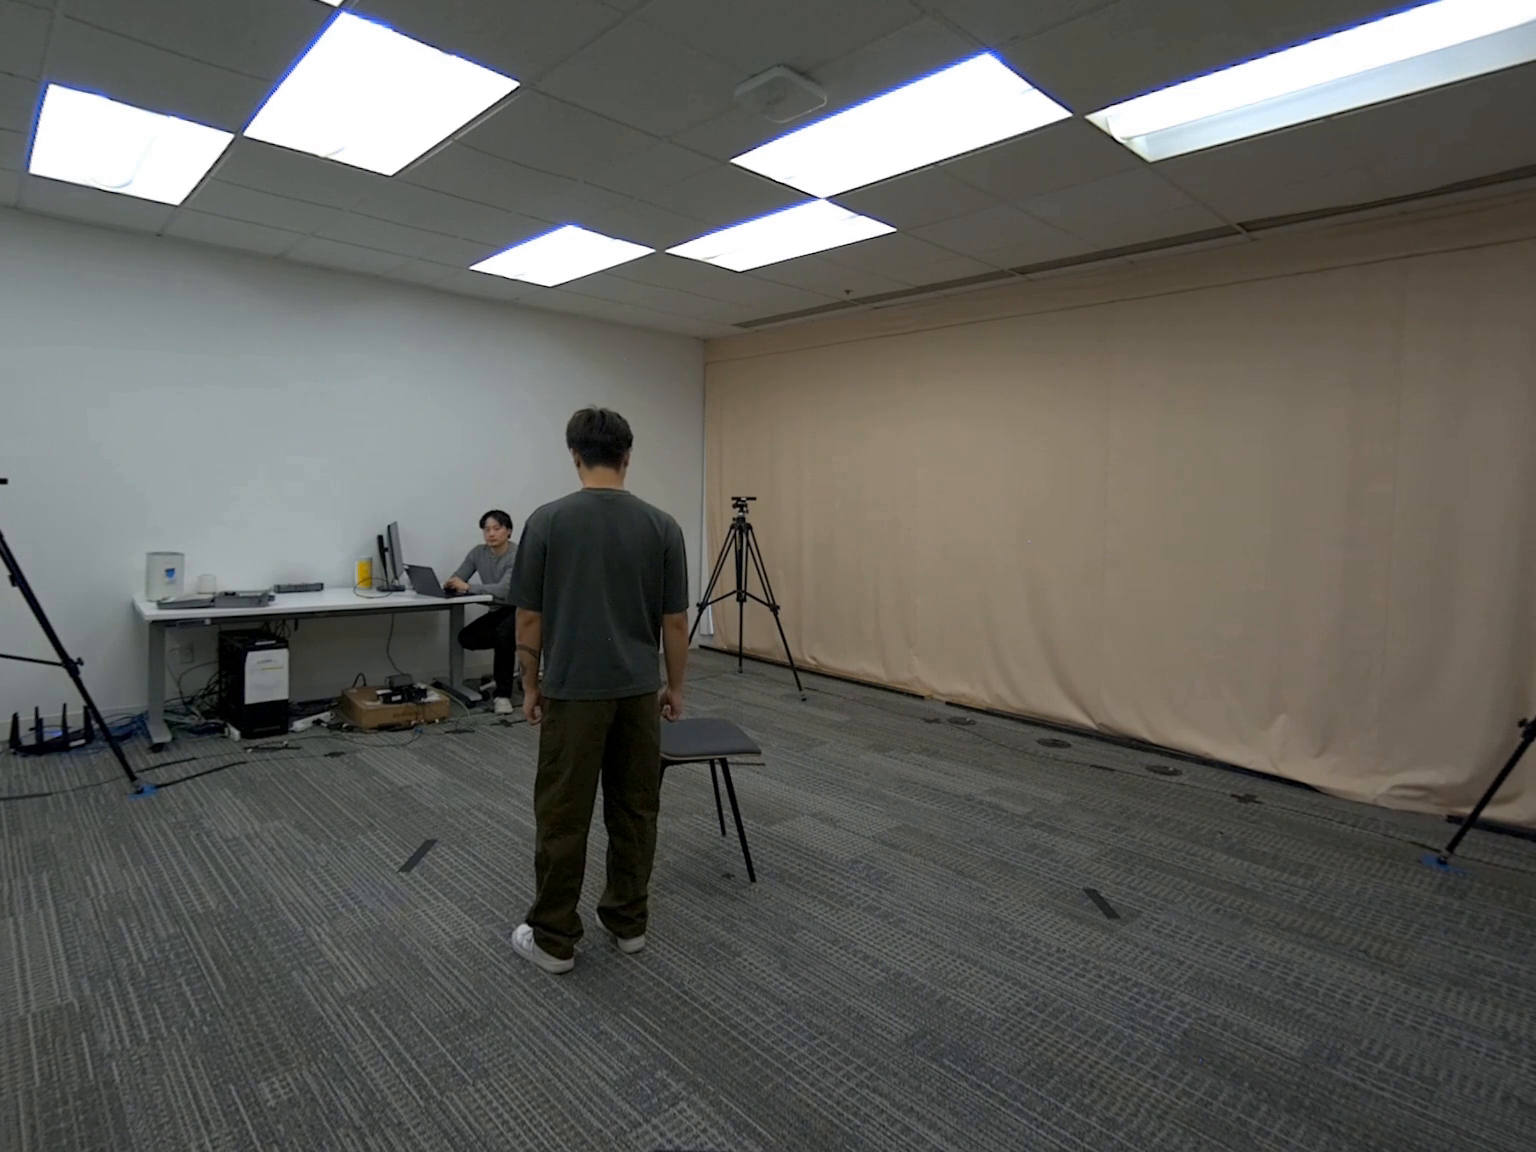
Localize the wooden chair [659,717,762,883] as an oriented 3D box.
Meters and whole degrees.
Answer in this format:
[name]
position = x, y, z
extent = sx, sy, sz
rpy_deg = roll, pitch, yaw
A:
[wooden chair]
position = -0.315, 0.669, 3.189
extent = 0.517, 0.875, 0.485
rpy_deg = -4, 4, -16
